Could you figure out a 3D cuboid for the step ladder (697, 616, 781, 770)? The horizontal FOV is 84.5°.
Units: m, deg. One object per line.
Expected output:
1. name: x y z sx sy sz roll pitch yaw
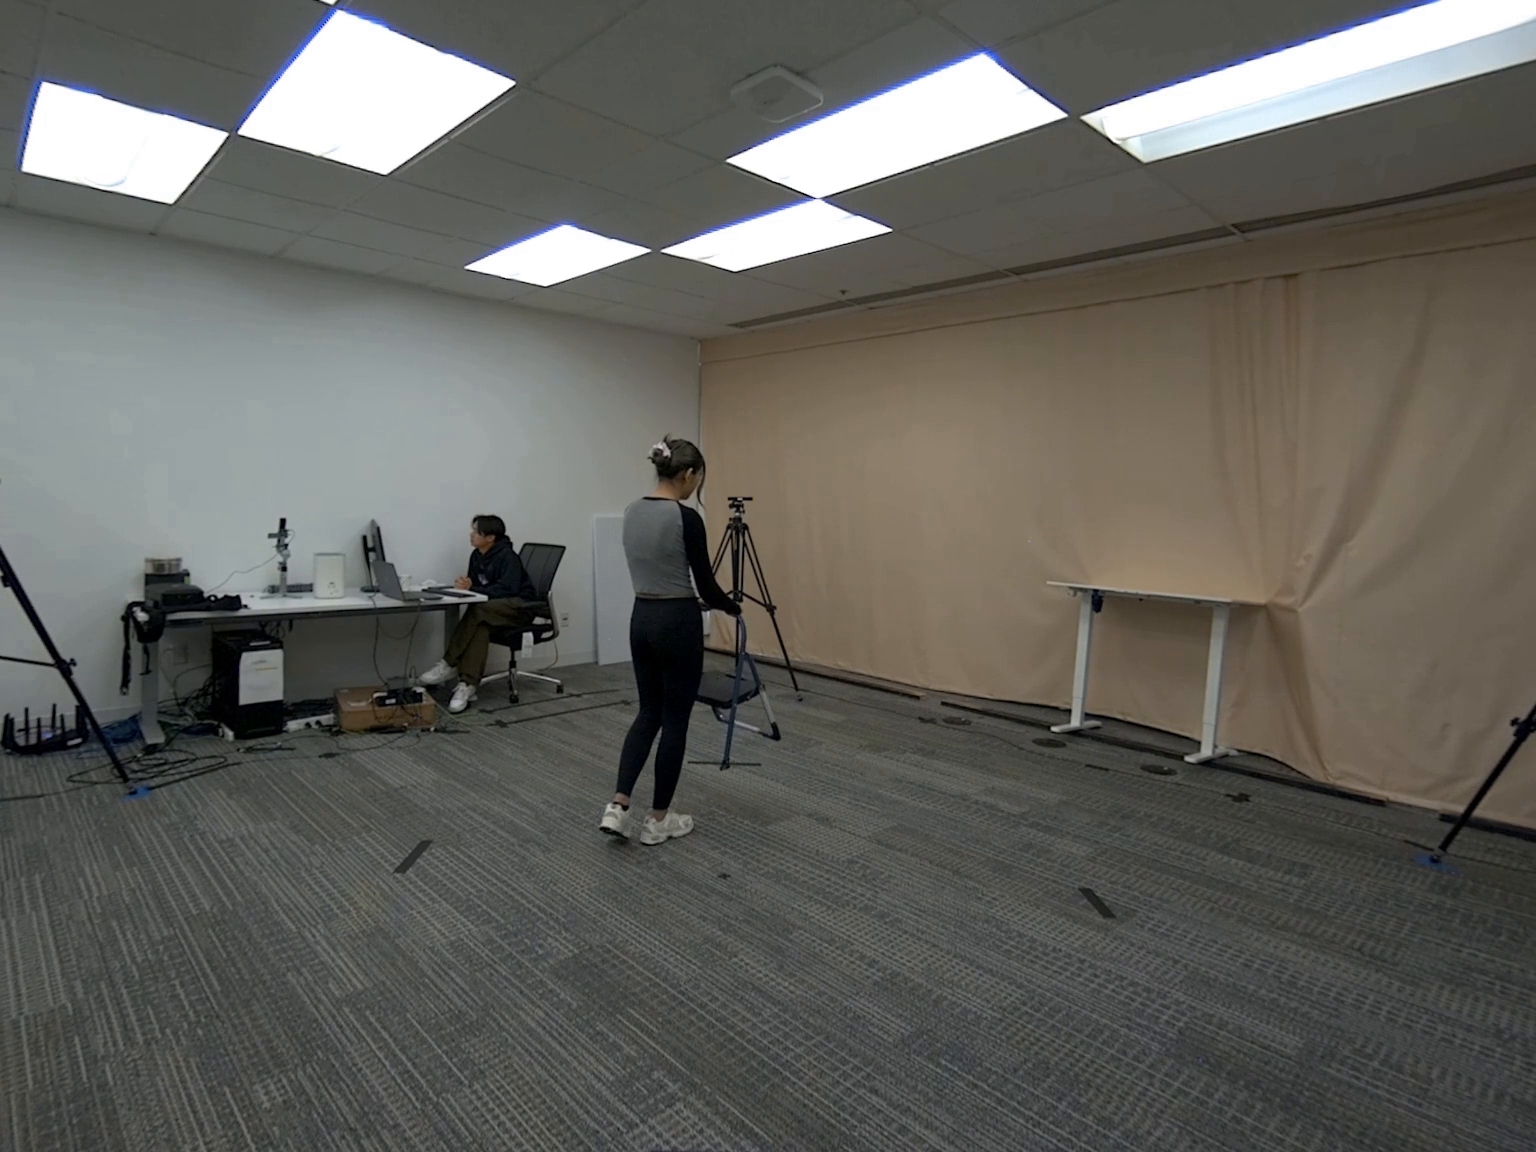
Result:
1. step ladder: -0.239 0.440 3.639 0.343 0.600 0.442 -16 15 -41
